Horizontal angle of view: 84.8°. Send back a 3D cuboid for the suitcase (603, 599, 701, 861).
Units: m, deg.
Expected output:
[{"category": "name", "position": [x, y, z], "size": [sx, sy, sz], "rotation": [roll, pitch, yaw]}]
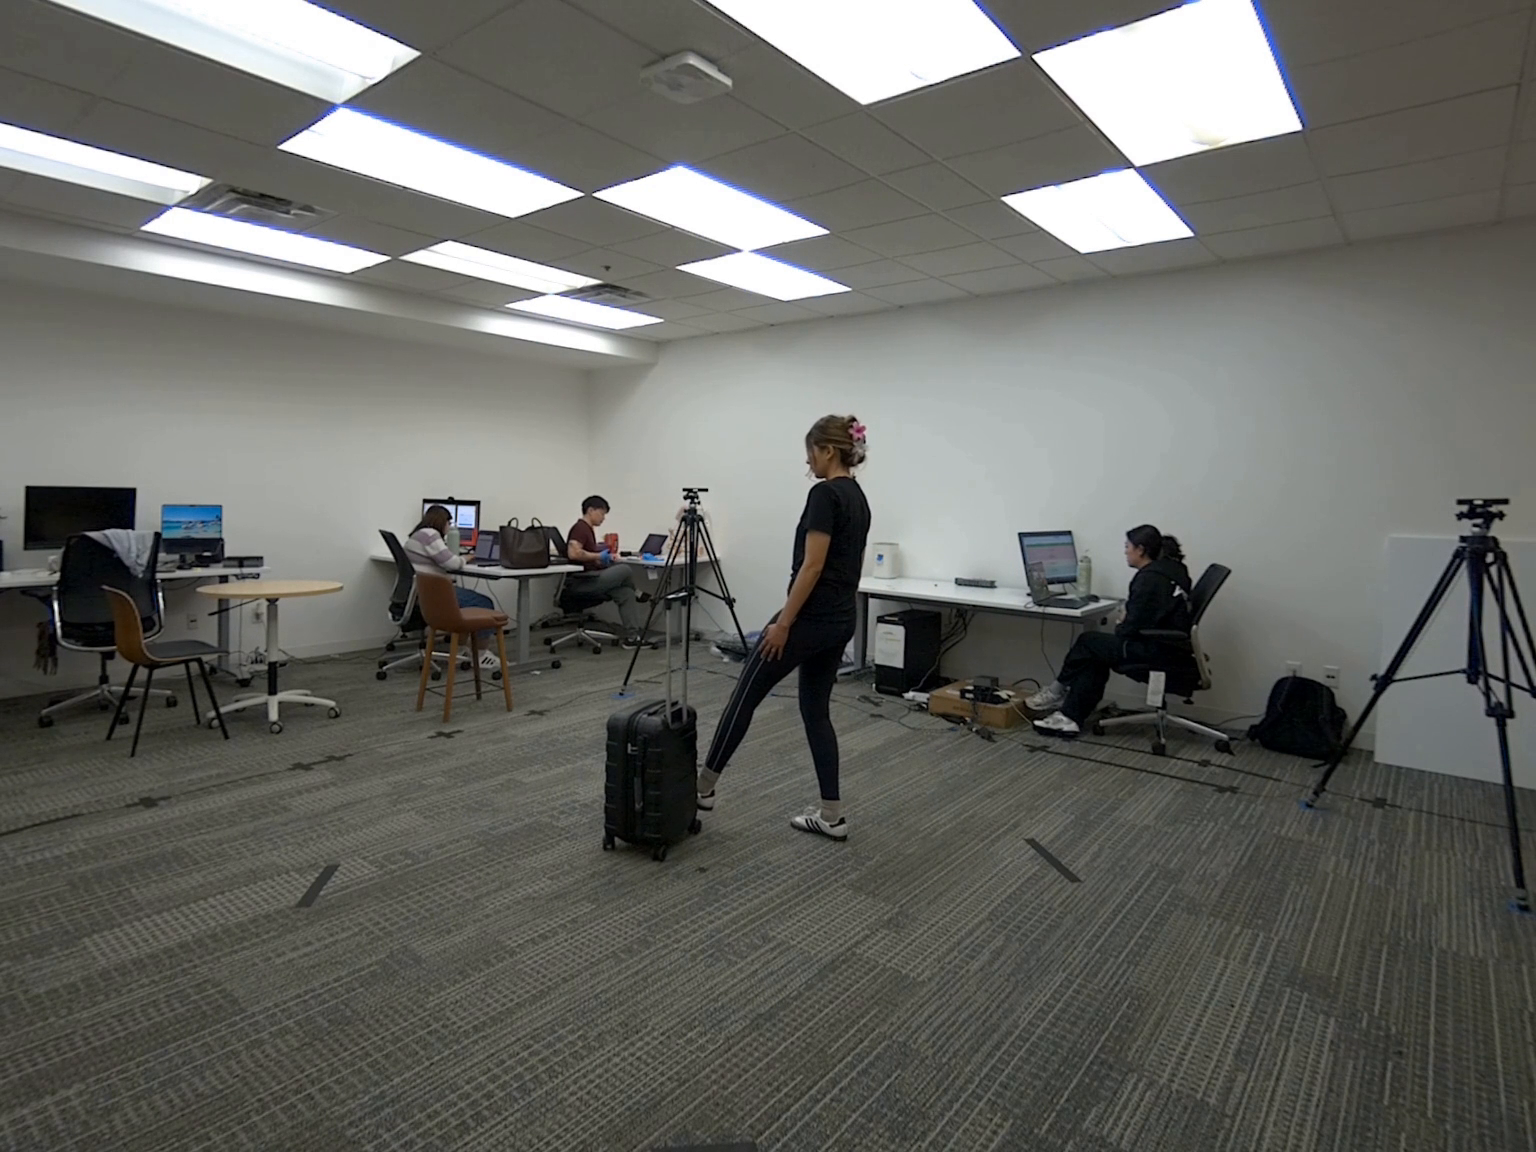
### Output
[{"category": "suitcase", "position": [-0.469, 0.572, 3.316], "size": [0.263, 0.976, 0.376], "rotation": [0, 3, 22]}]
